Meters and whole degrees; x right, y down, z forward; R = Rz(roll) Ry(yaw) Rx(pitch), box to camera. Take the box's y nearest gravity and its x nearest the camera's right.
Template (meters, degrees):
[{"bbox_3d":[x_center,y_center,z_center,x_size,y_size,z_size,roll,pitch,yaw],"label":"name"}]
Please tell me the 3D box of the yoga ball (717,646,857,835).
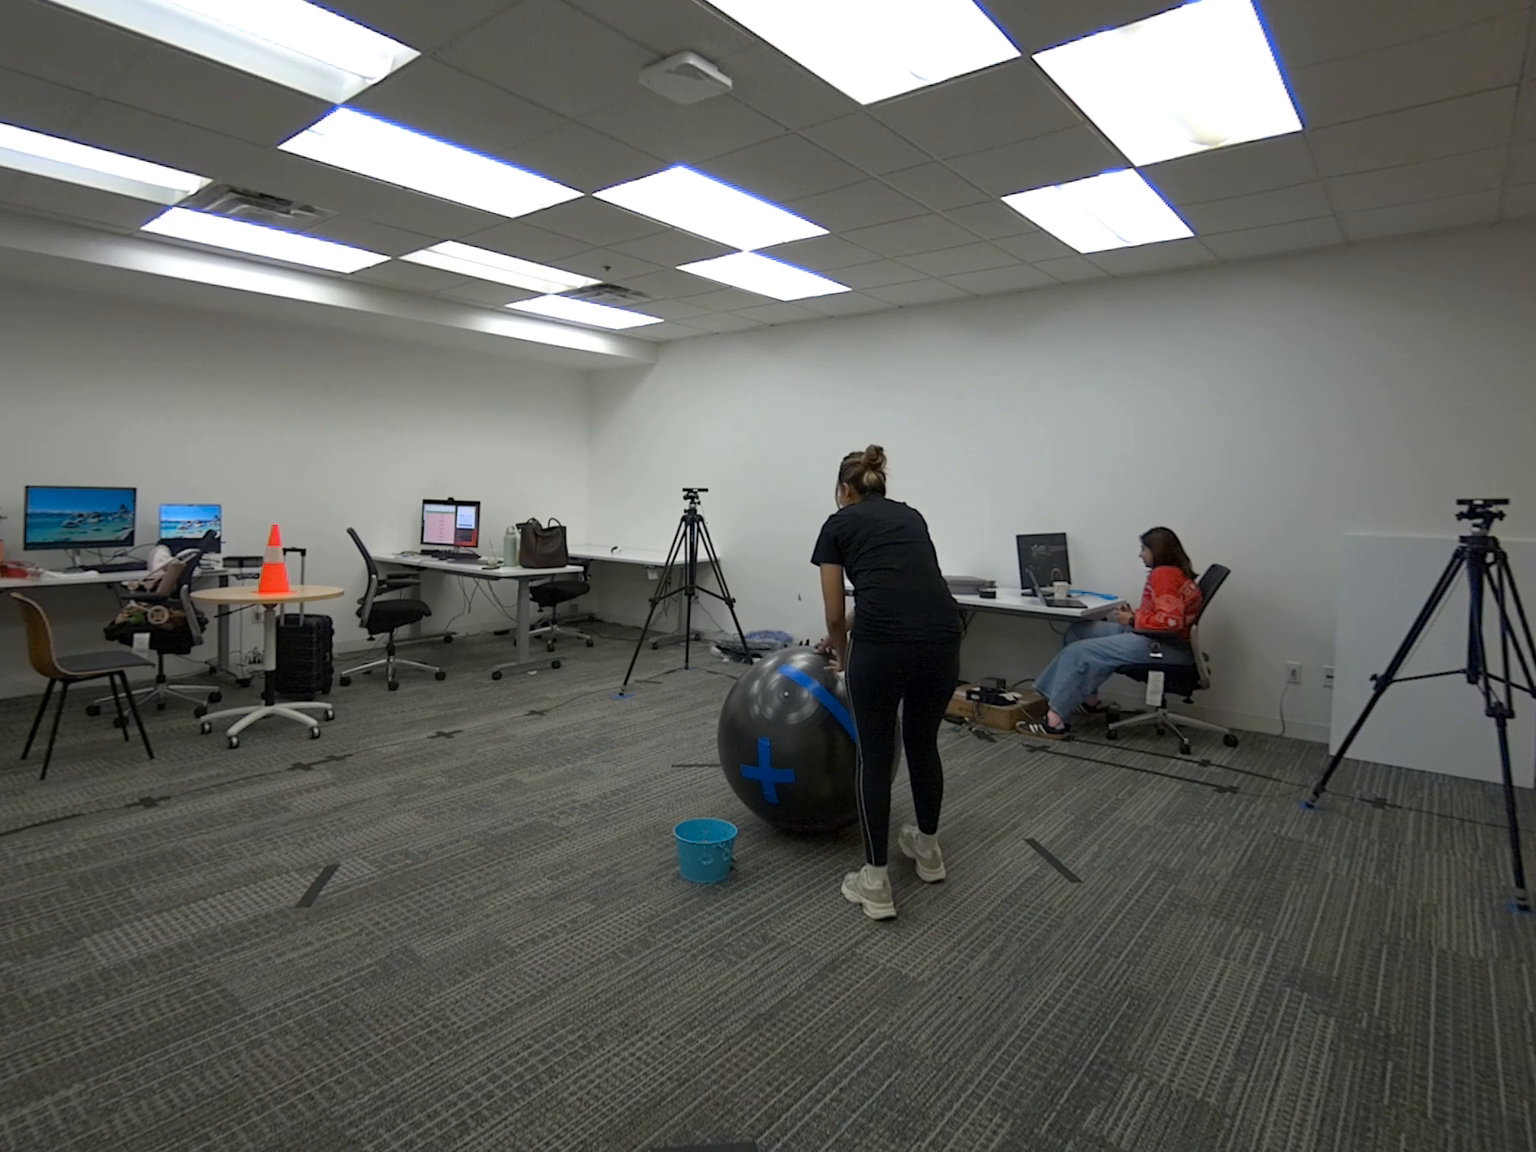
[{"bbox_3d":[0.165,0.674,3.532,0.757,0.755,0.762,1,4,-2],"label":"yoga ball"}]
